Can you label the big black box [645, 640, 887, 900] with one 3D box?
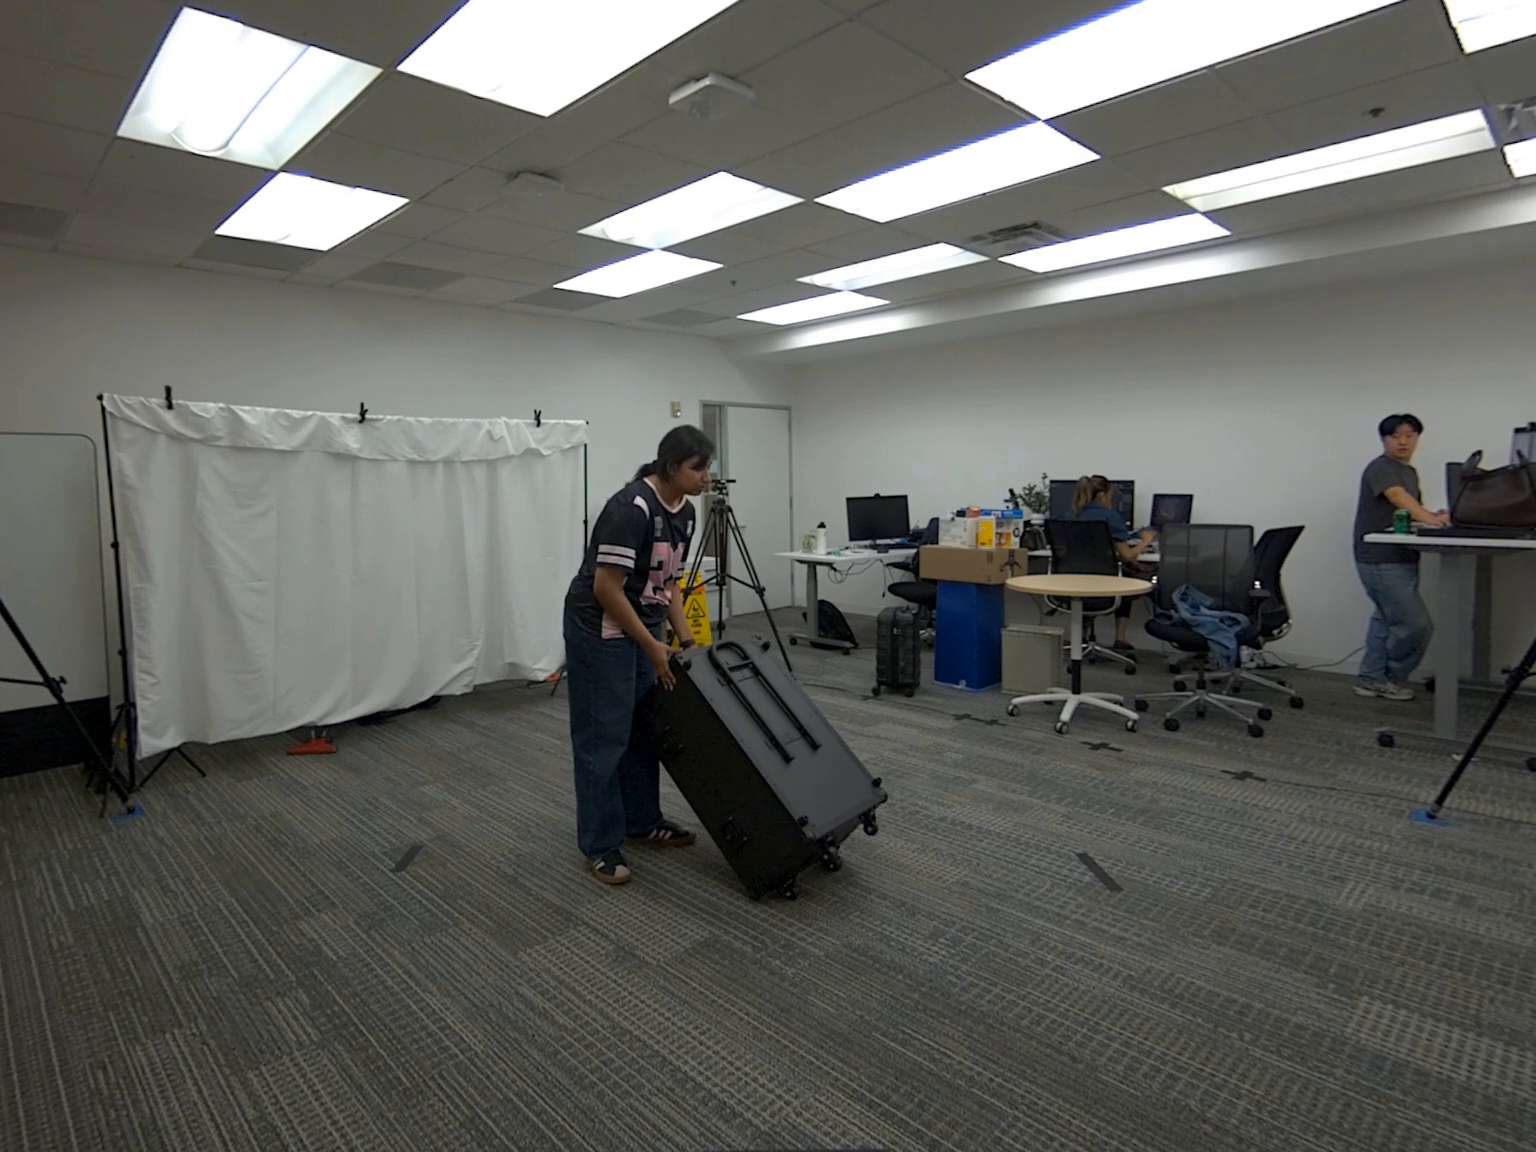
[{"bbox_3d":[-0.008,0.669,3.066,0.510,0.383,0.896,-5,48,-51],"label":"big black box"}]
